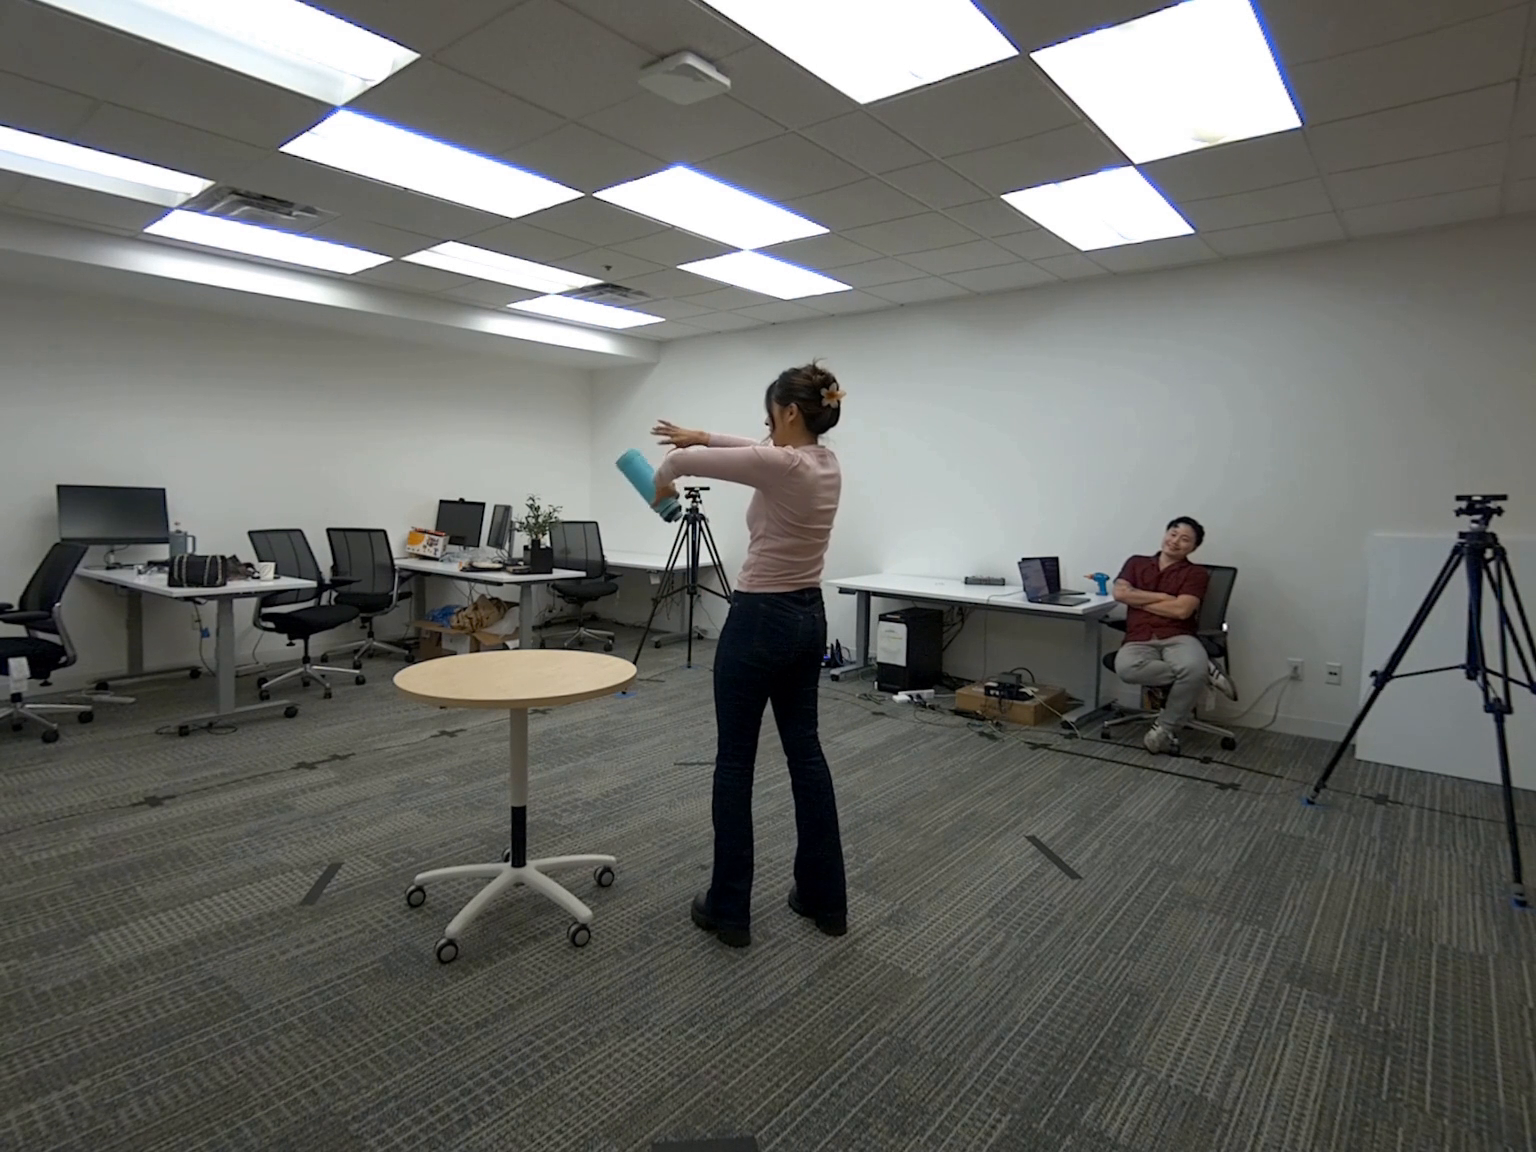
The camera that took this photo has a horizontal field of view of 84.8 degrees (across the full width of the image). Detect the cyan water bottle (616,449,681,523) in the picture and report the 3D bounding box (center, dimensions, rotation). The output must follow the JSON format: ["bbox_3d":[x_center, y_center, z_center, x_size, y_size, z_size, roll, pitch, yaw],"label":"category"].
[{"bbox_3d":[-0.412,-0.295,2.876,0.092,0.283,0.092,-38,1,0],"label":"cyan water bottle"}]
